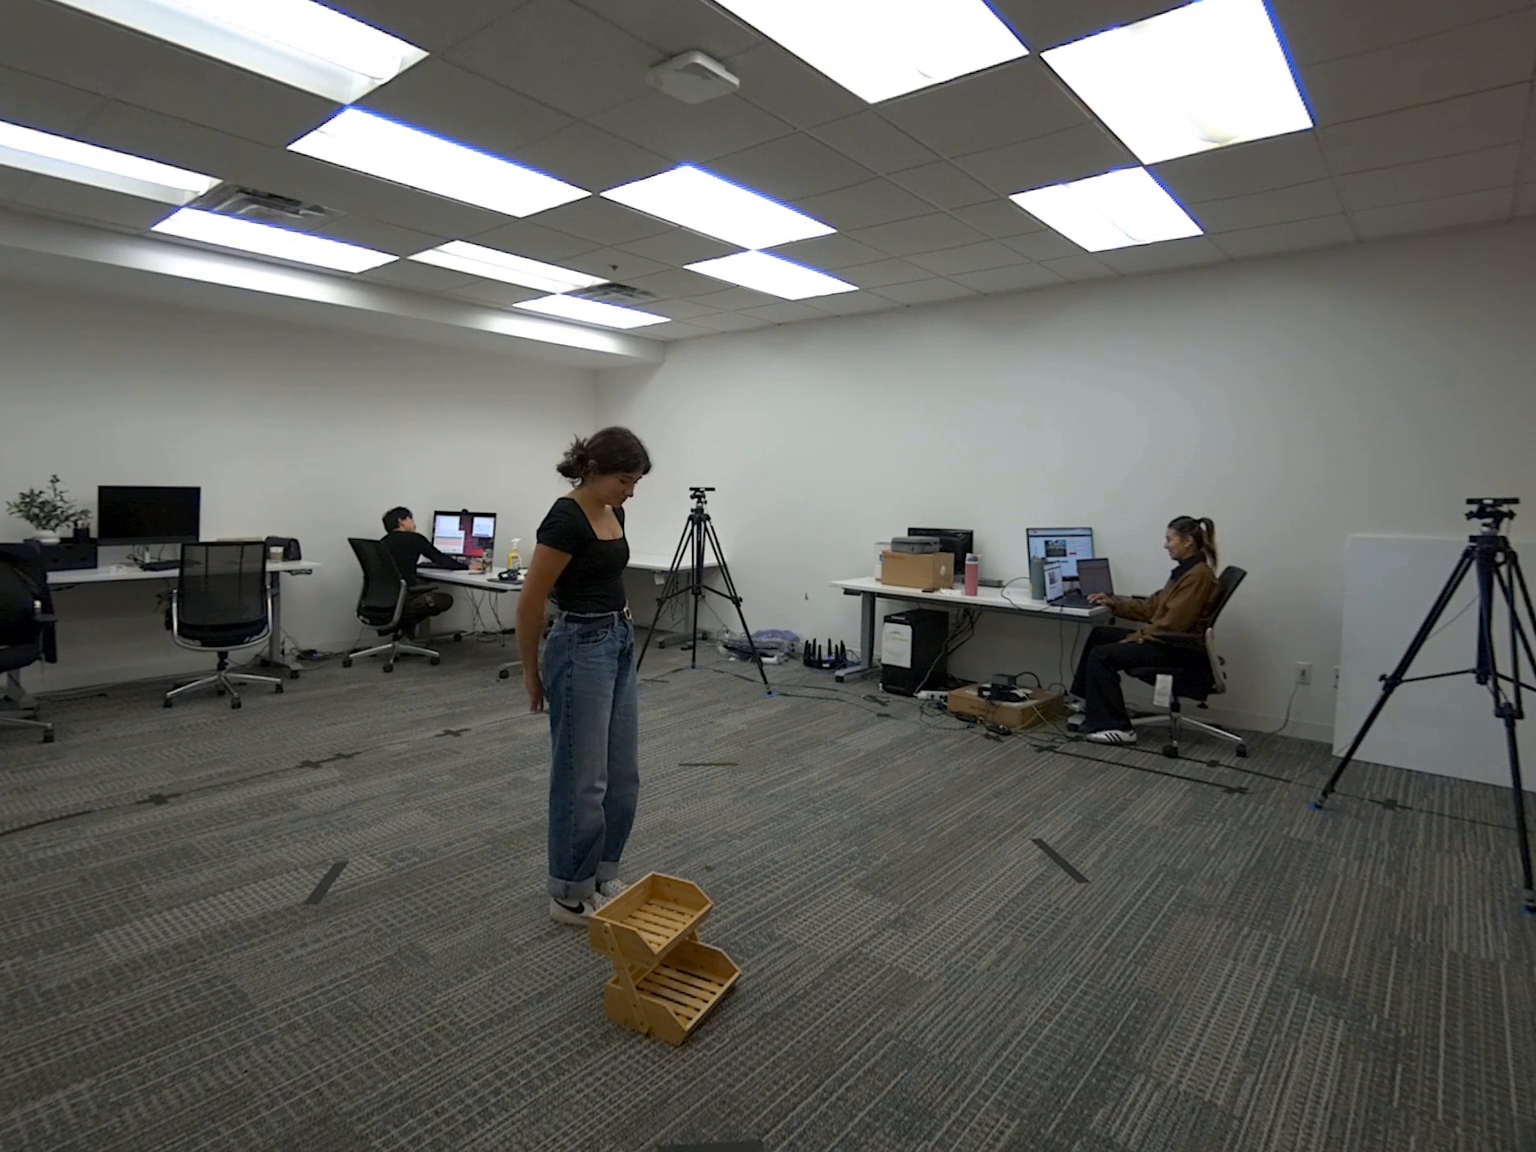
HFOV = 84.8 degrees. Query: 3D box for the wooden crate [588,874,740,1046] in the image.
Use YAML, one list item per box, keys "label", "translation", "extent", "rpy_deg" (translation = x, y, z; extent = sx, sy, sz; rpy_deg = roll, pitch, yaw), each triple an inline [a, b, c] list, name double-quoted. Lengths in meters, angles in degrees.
- label: "wooden crate"
  translation: [-0.278, 1.013, 2.299]
  extent: [0.310, 0.272, 0.317]
  rpy_deg: [3, 5, 27]
